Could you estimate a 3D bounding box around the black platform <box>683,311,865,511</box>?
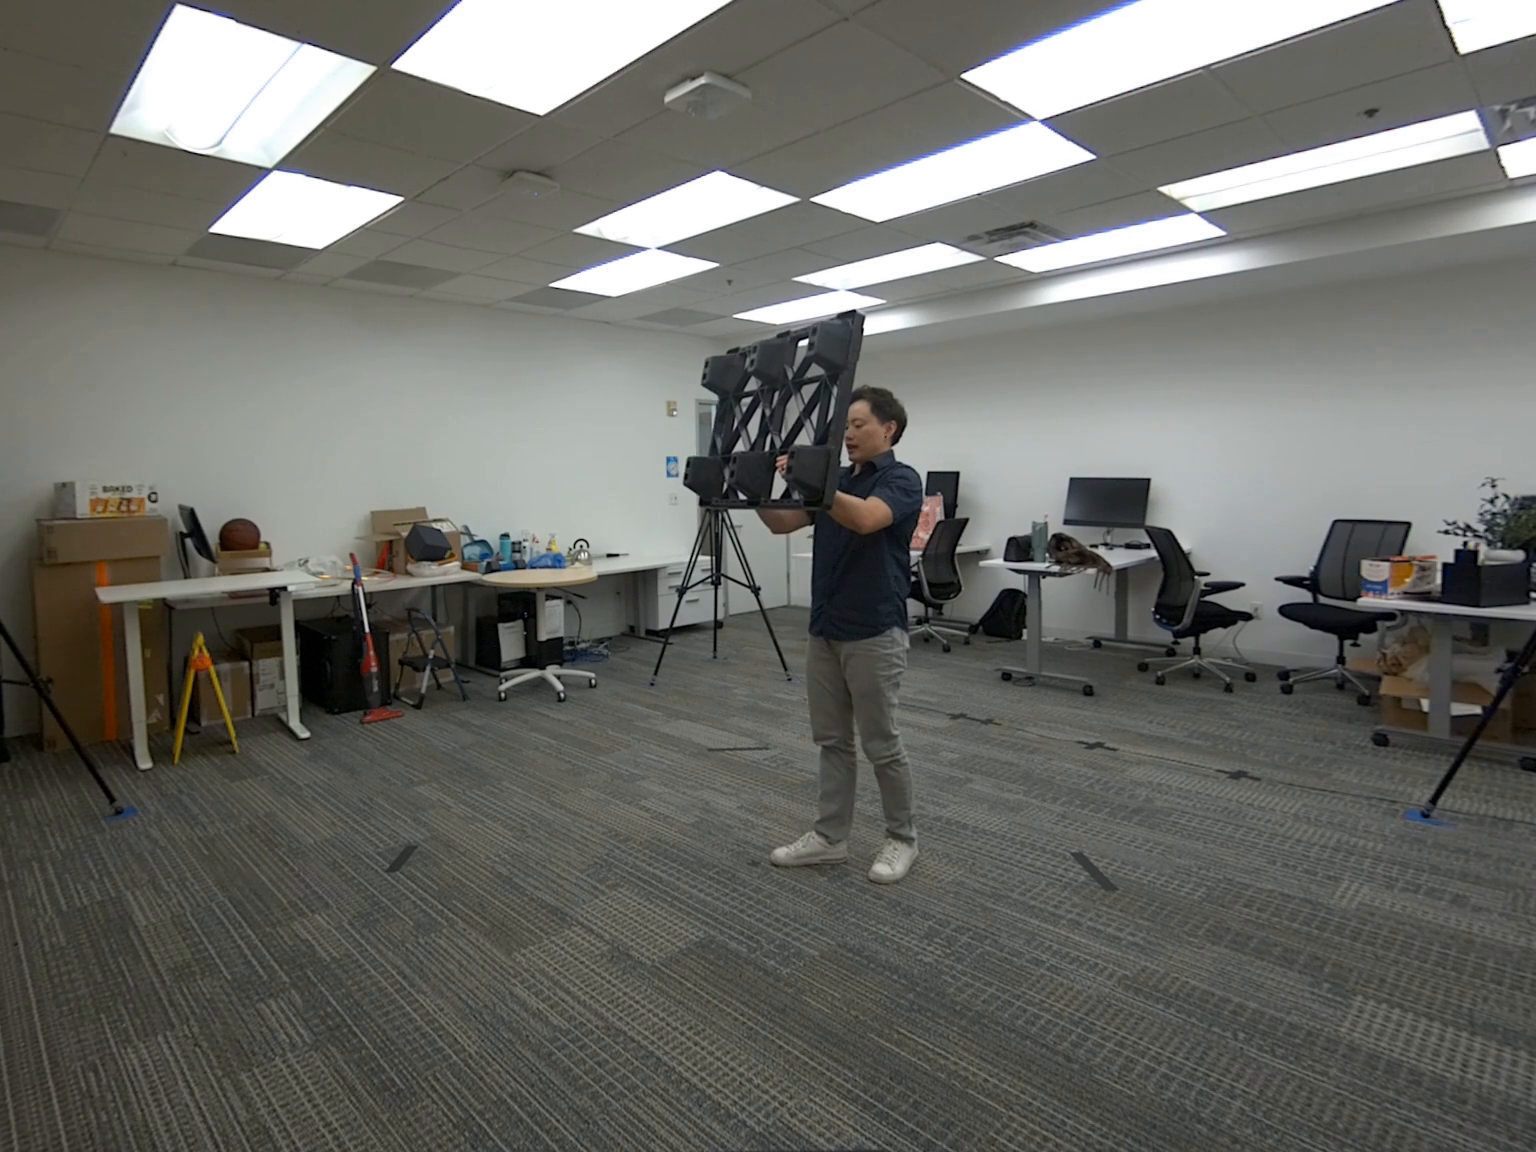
[{"bbox_3d":[-0.022,-0.528,2.810,0.139,0.606,0.827,11,-2,-30],"label":"black platform"}]
